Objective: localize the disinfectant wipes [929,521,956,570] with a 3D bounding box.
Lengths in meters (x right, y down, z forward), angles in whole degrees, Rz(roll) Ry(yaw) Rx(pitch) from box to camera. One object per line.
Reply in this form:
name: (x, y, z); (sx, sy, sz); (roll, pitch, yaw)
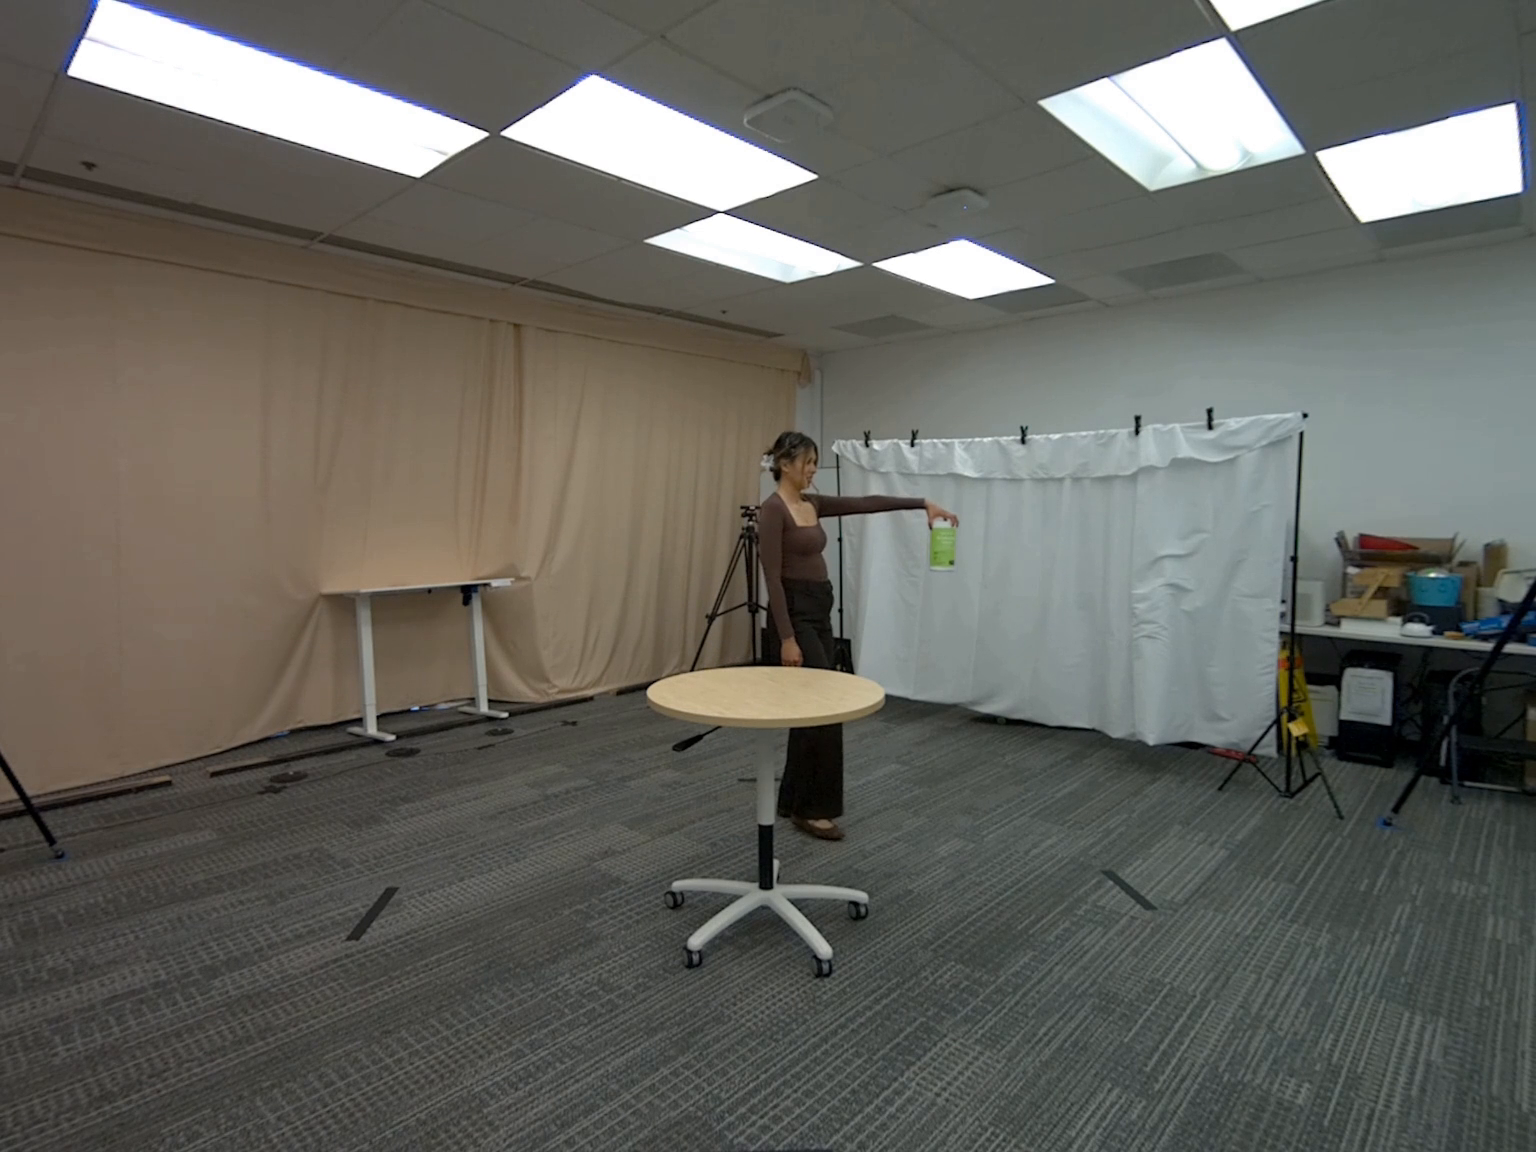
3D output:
disinfectant wipes: (0.758, -0.127, 3.648); (0.118, 0.217, 0.118); (1, 2, -2)
